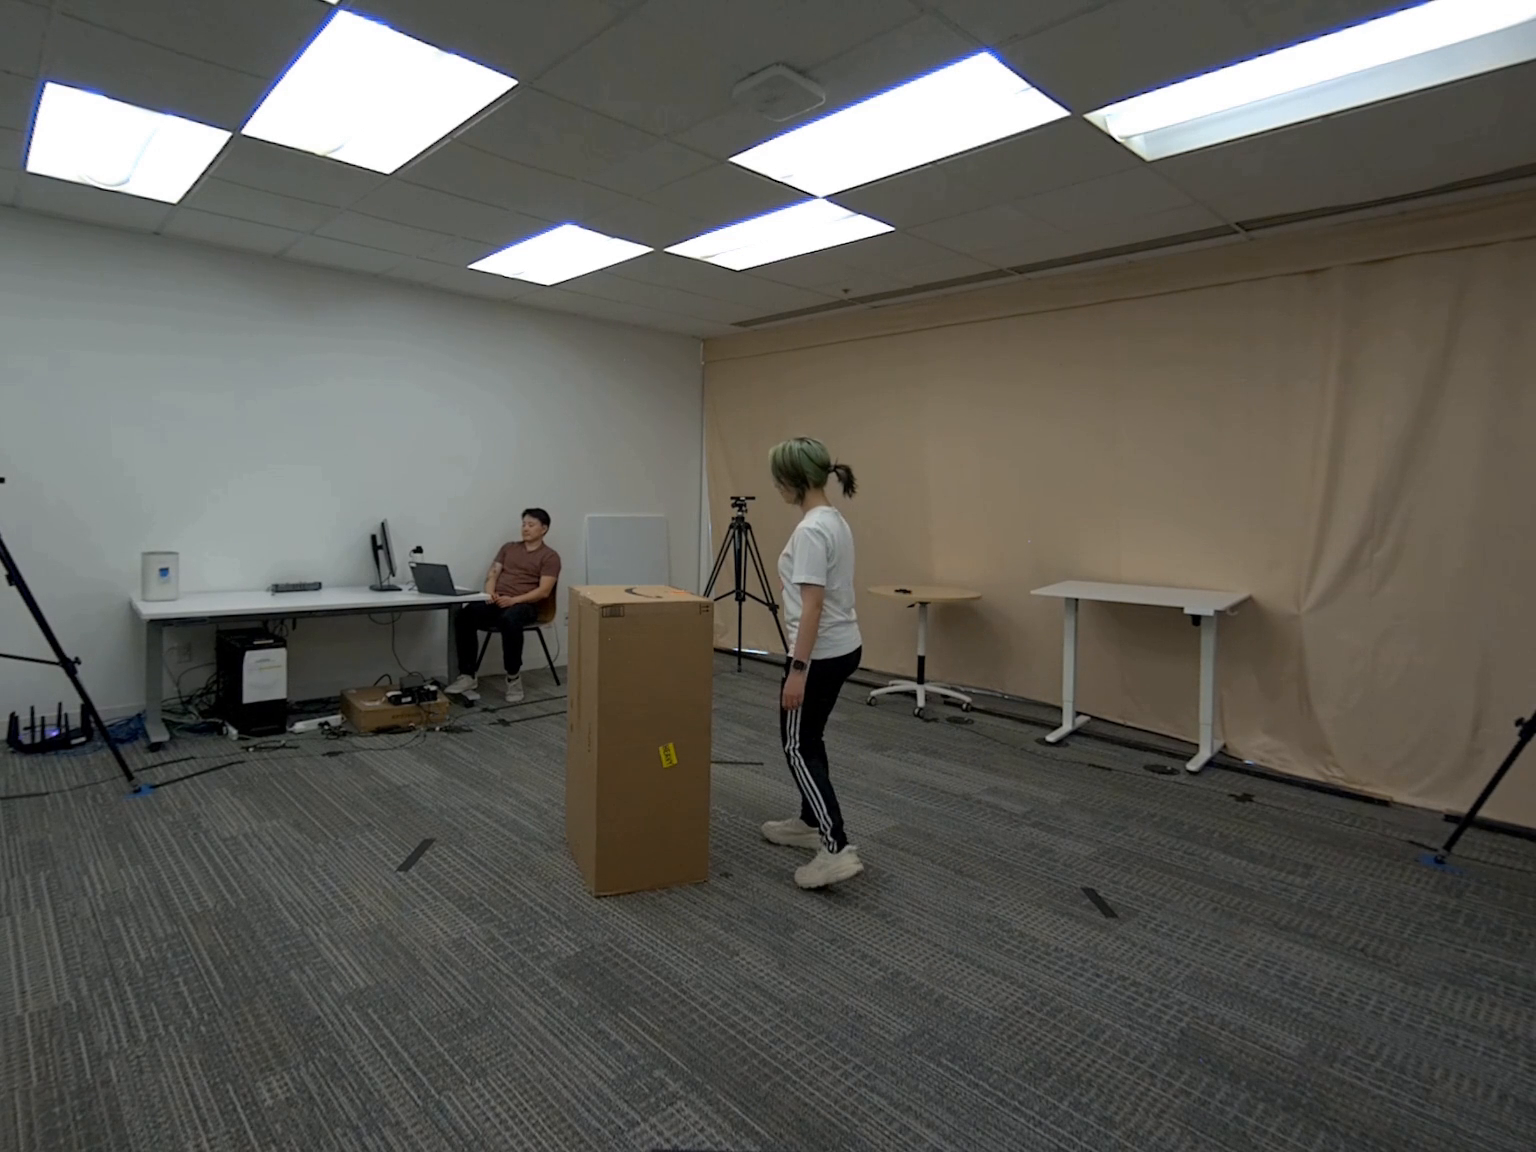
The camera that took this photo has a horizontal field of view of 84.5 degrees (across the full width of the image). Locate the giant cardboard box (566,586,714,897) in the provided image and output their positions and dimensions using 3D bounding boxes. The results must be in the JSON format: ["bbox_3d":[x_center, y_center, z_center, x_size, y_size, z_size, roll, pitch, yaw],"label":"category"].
[{"bbox_3d":[-0.518,0.579,3.217,0.439,1.025,0.595,-1,3,-24],"label":"giant cardboard box"}]
